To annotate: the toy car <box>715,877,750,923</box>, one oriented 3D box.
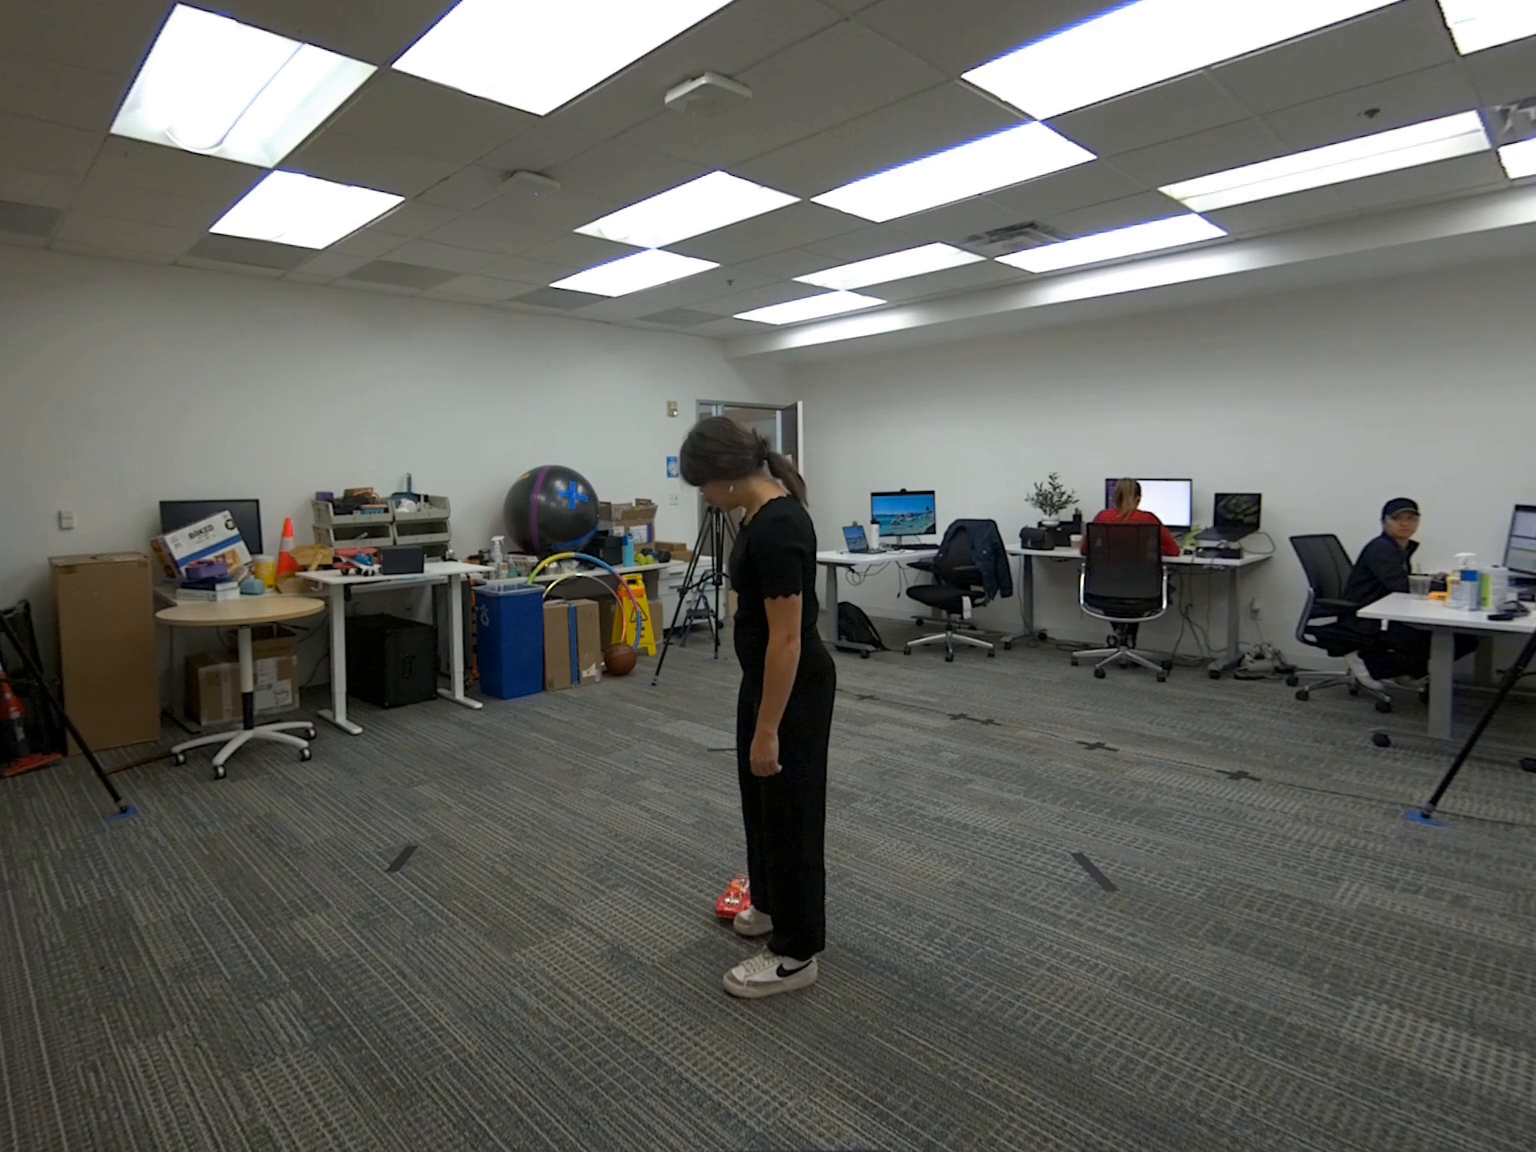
[{"bbox_3d":[-0.092,1.053,2.774,0.132,0.083,0.249,1,-4,16],"label":"toy car"}]
